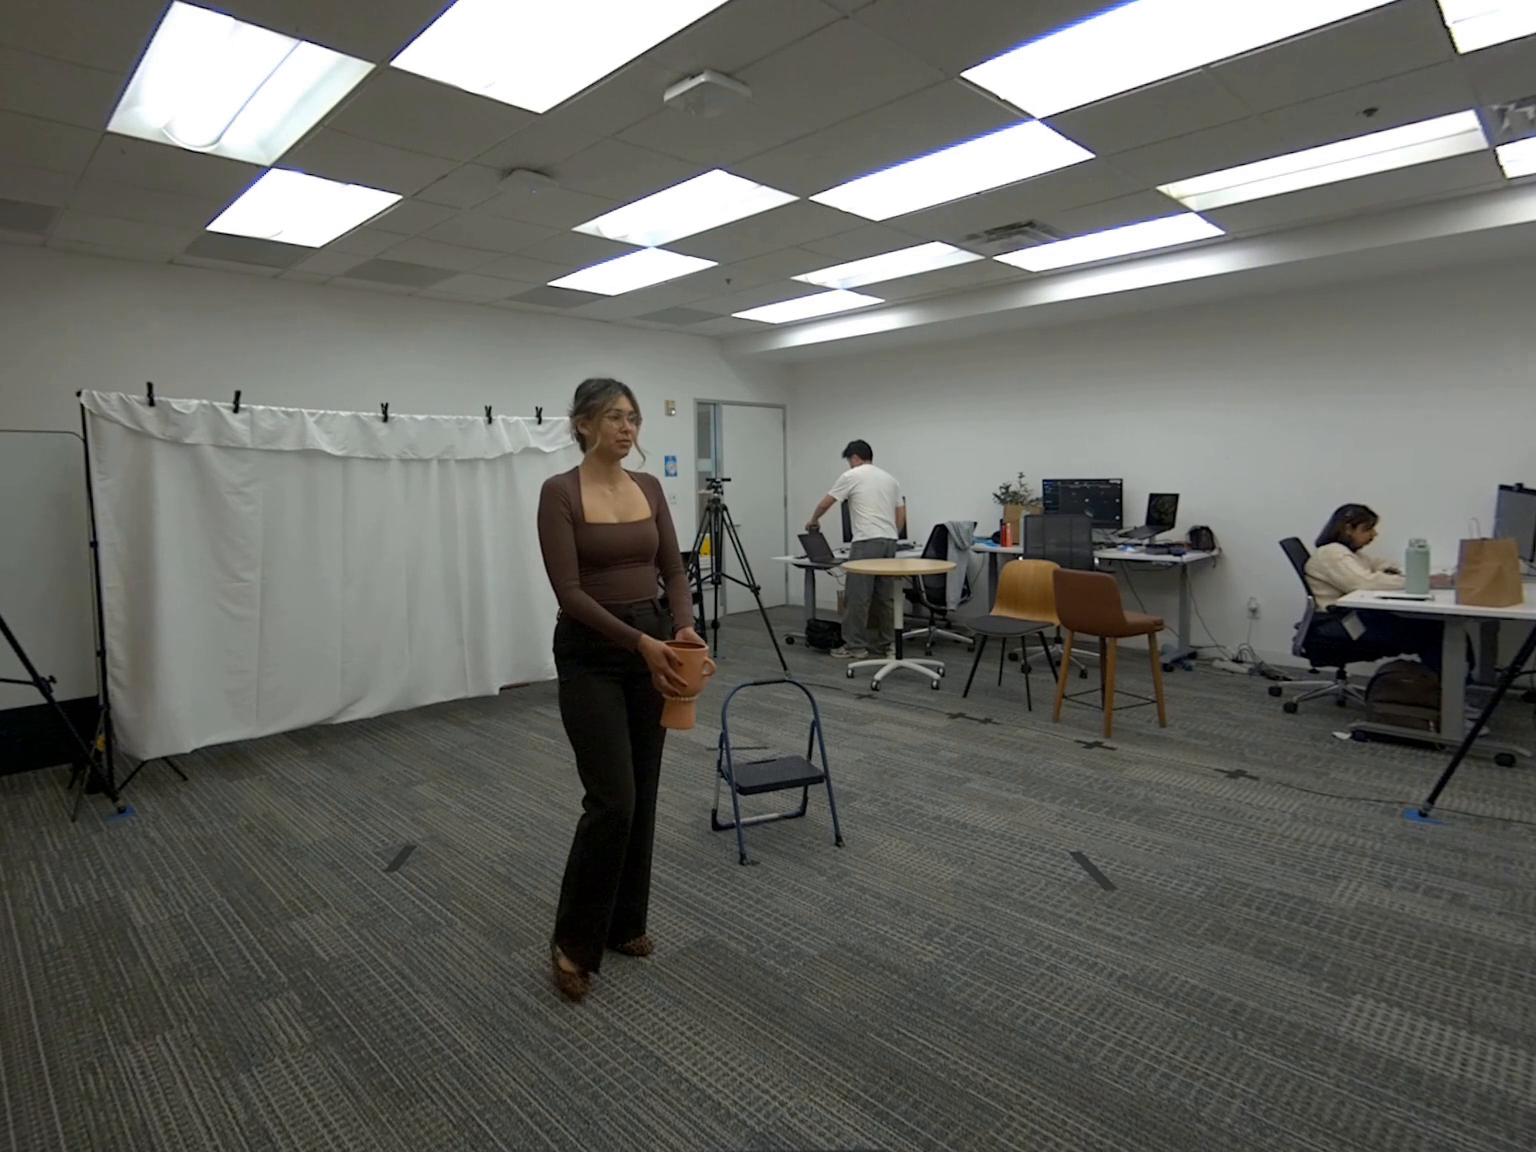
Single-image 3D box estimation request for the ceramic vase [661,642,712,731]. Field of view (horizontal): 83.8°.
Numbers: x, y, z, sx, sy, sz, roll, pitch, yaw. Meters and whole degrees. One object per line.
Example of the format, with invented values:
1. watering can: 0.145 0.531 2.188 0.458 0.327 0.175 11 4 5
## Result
1. ceramic vase: -0.248 0.300 2.318 0.131 0.219 0.163 1 5 -31
